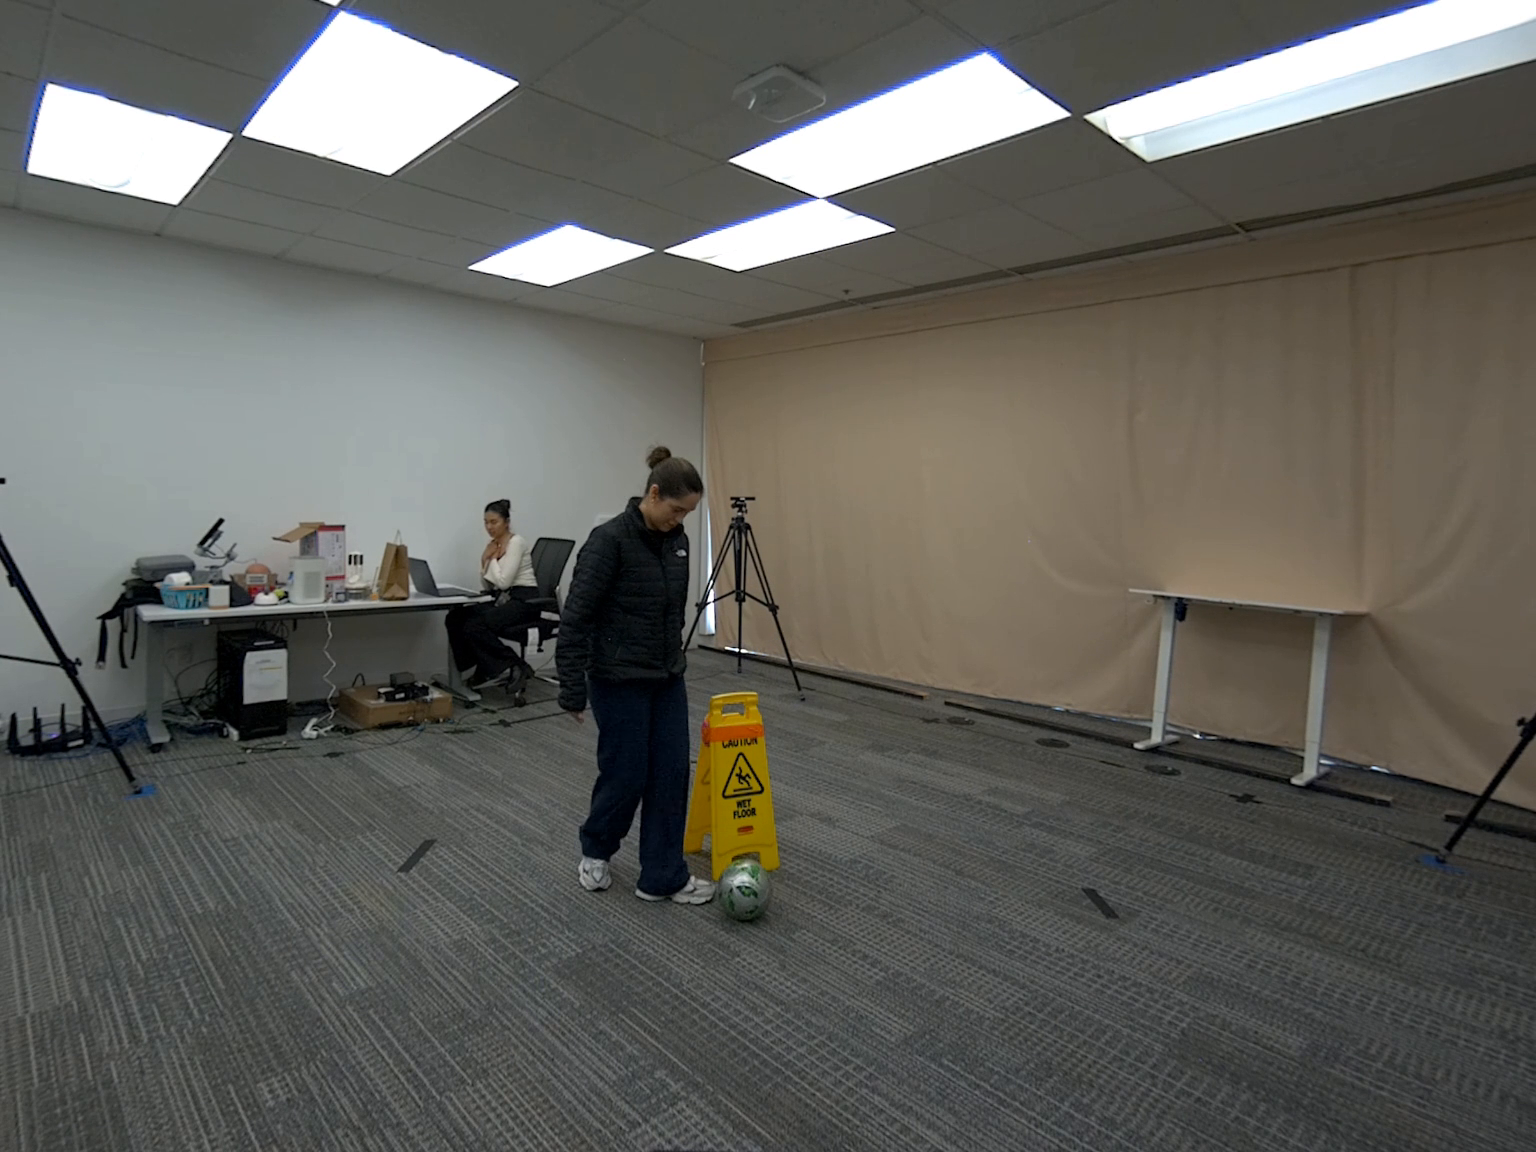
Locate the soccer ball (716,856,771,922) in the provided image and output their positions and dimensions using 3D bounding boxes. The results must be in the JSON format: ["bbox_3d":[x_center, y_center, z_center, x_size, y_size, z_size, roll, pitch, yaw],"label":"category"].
[{"bbox_3d":[-0.096,1.044,2.800,0.187,0.187,0.188,1,4,-1],"label":"soccer ball"}]
